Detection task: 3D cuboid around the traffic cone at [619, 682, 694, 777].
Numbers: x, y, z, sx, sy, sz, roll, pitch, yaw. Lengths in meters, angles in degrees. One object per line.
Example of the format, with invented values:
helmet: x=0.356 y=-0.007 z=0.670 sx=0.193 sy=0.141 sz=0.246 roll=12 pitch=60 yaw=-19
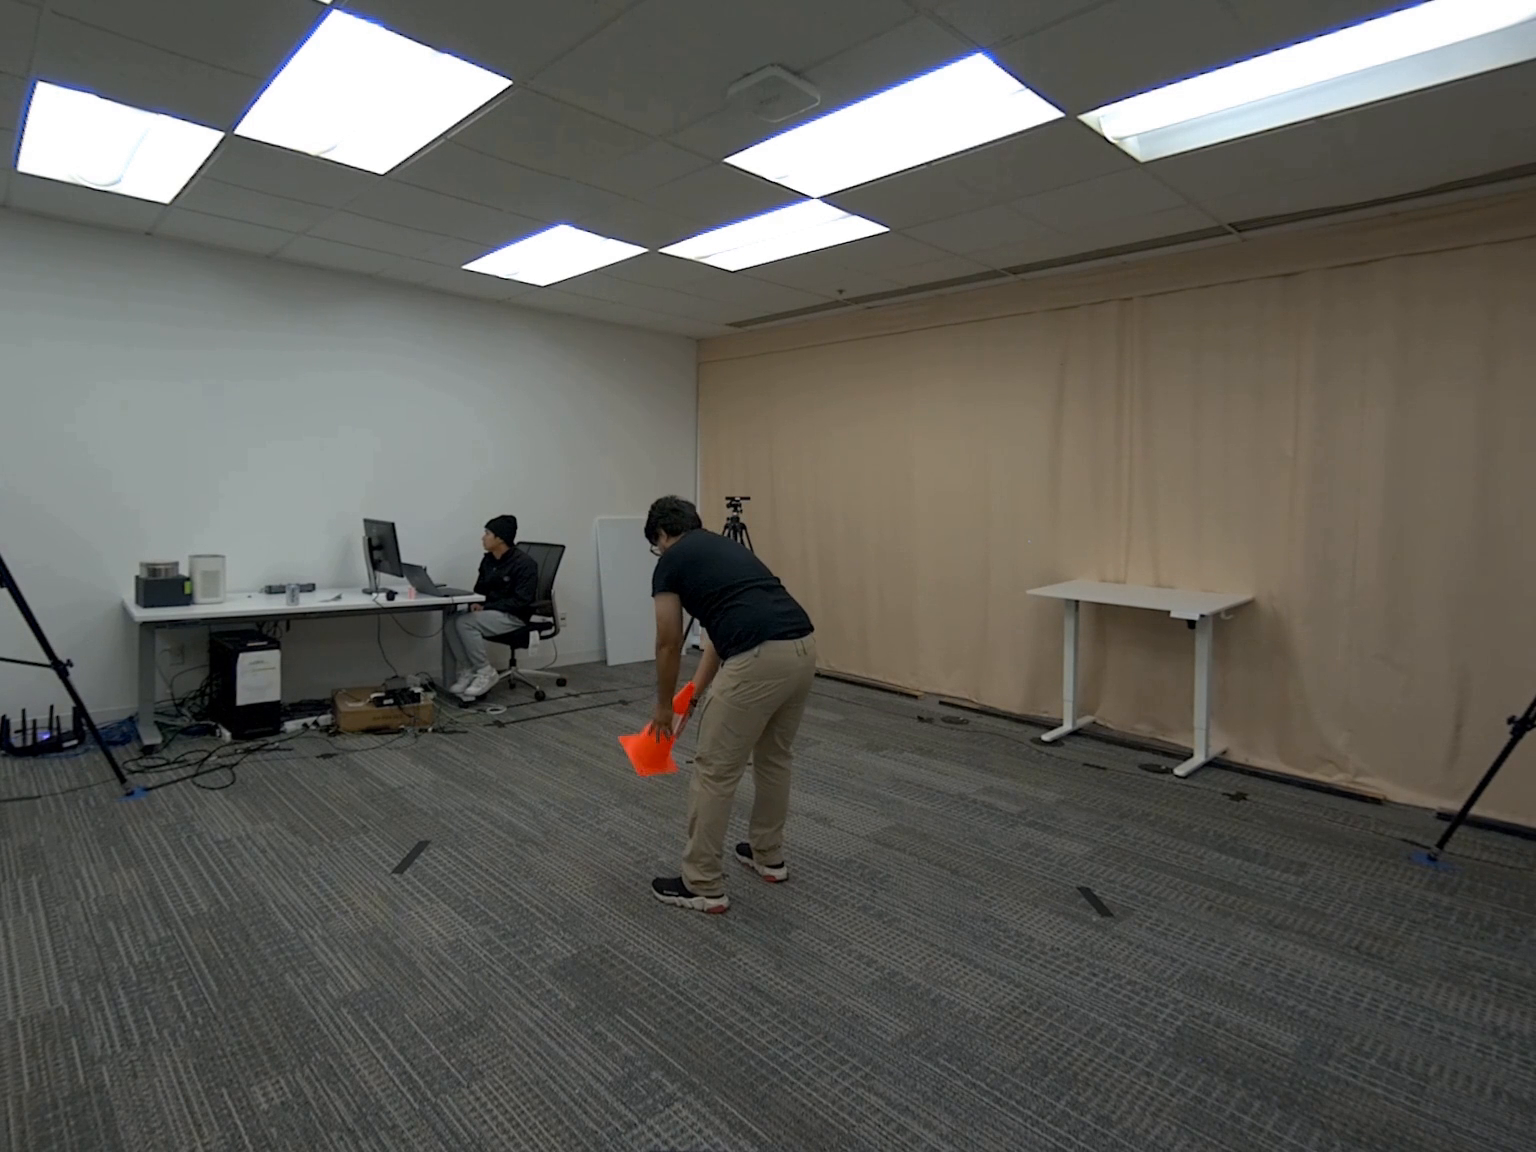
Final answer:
traffic cone: x=-0.394 y=0.540 z=3.244 sx=0.199 sy=0.382 sz=0.210 roll=7 pitch=32 yaw=-46
